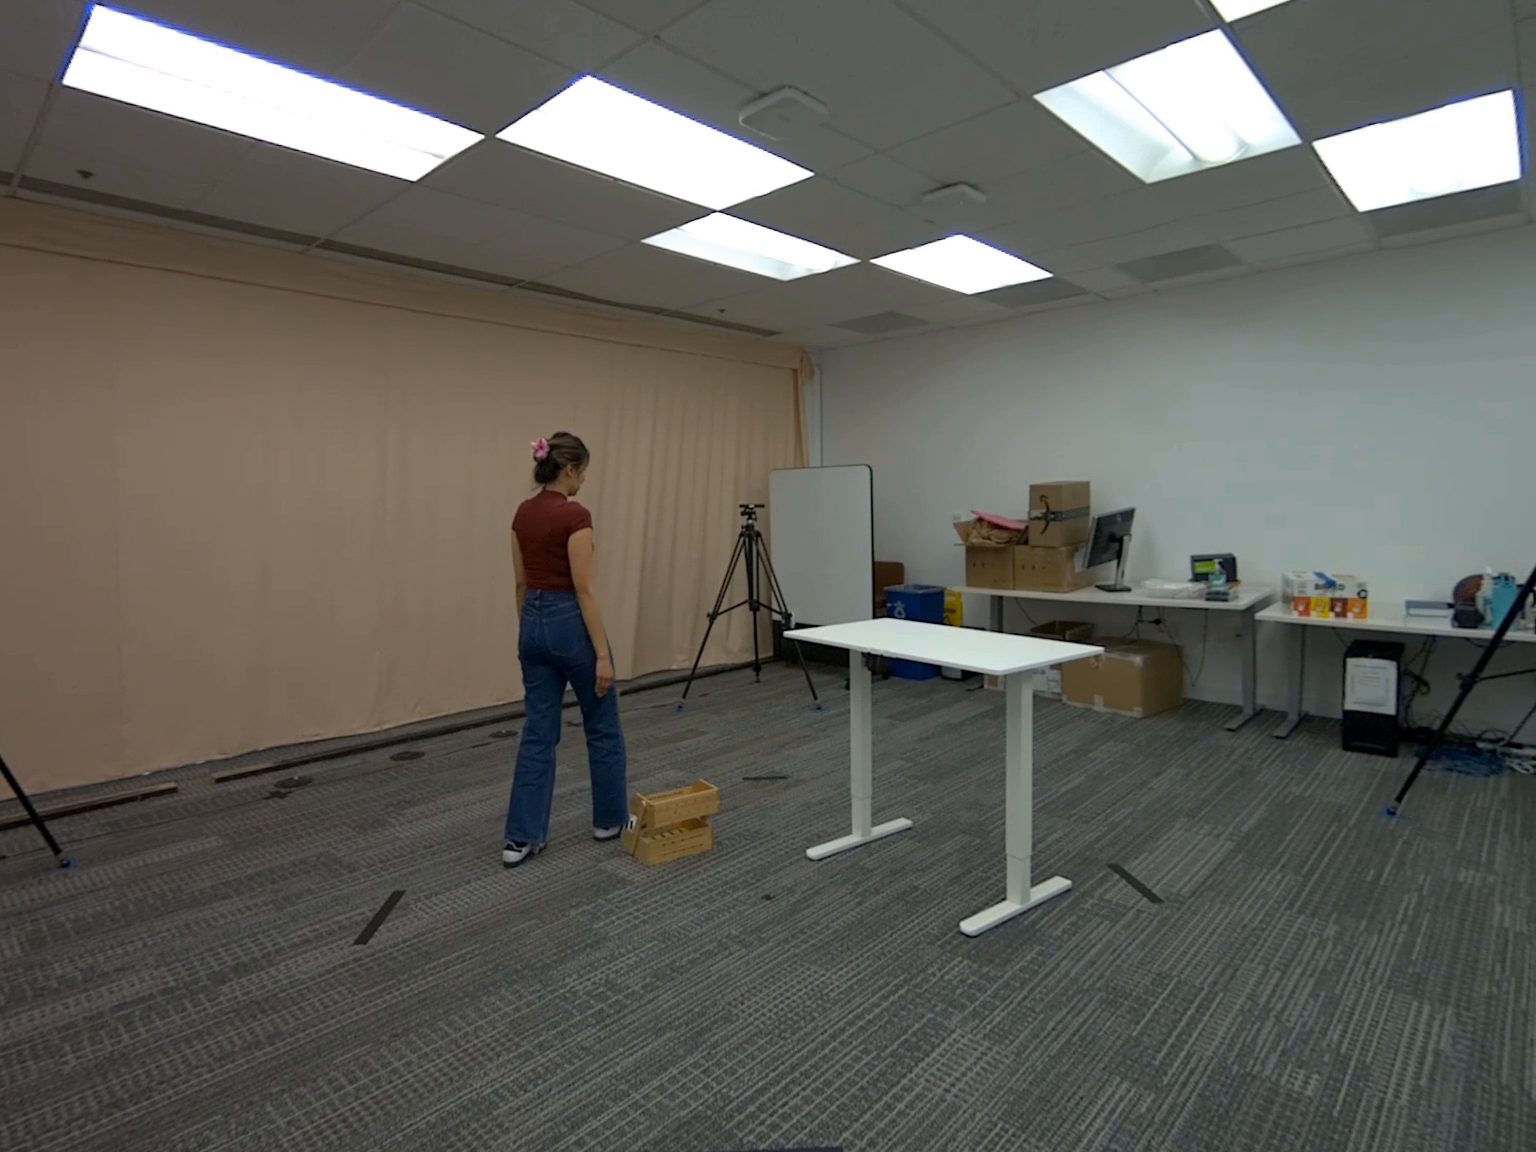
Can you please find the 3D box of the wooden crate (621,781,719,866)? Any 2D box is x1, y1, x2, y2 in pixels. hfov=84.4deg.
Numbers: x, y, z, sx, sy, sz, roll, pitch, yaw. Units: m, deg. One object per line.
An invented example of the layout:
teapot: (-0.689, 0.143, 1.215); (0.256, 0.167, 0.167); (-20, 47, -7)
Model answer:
wooden crate: (-0.405, 0.978, 3.416); (0.315, 0.272, 0.311); (-4, 5, -33)
